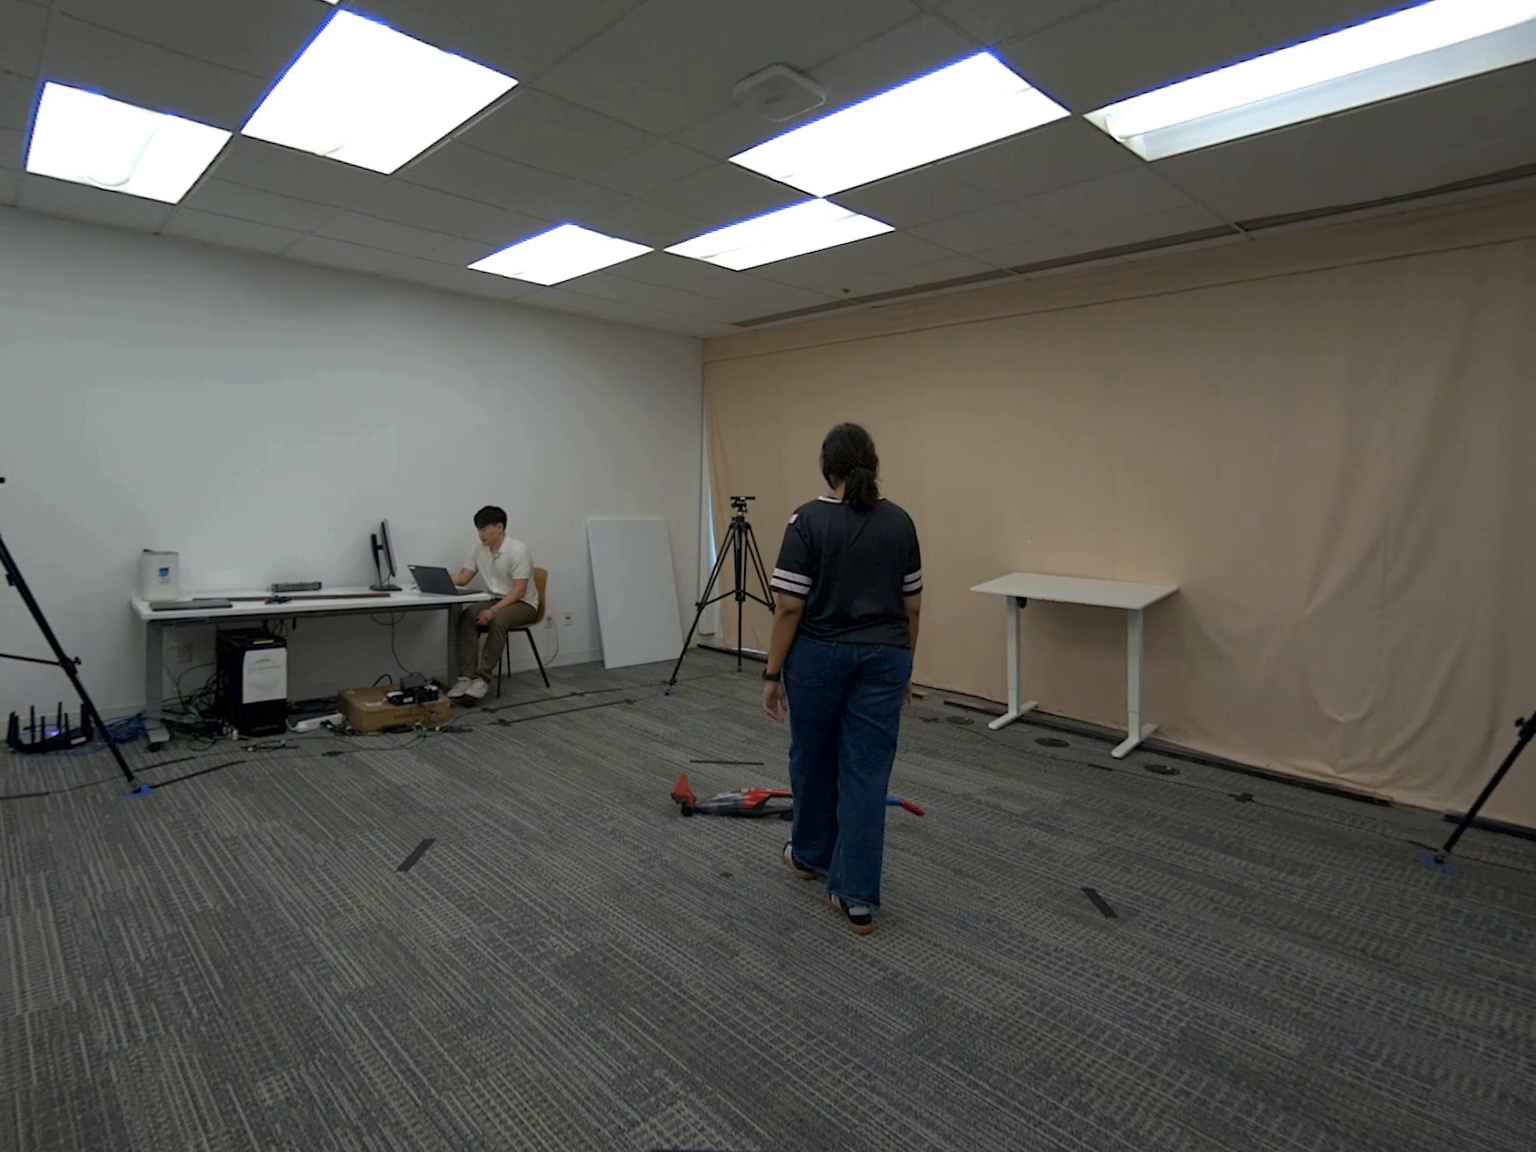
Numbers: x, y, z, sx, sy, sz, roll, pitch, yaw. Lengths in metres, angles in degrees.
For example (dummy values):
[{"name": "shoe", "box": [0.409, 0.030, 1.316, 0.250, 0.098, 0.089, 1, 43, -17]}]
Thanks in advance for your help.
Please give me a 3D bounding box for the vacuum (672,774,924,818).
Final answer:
[{"name": "vacuum", "box": [0.134, 0.998, 3.665, 1.054, 0.143, 0.252, 2, 5, 5]}]
